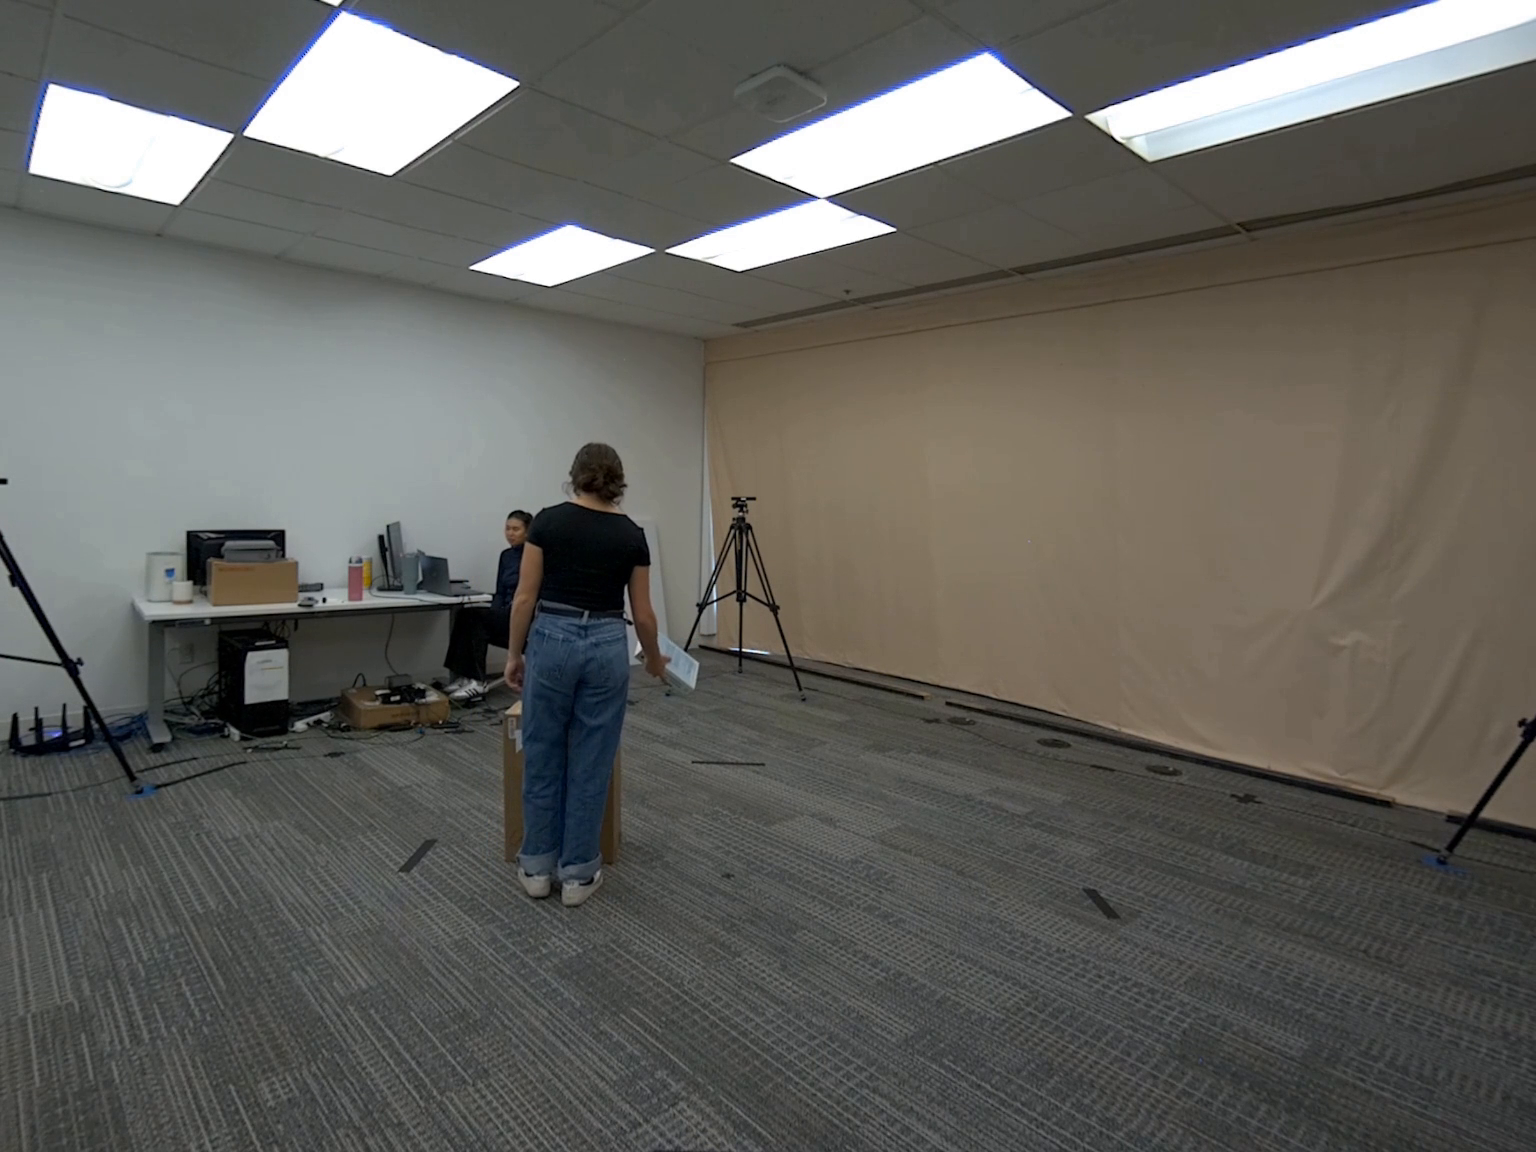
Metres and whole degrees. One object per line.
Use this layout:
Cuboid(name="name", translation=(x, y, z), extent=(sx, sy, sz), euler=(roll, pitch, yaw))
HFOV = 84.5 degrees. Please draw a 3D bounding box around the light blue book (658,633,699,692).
Cuboid(name="light blue book", translation=(-0.406, 0.329, 3.292), extent=(0.257, 0.059, 0.194), euler=(40, 18, -13))
